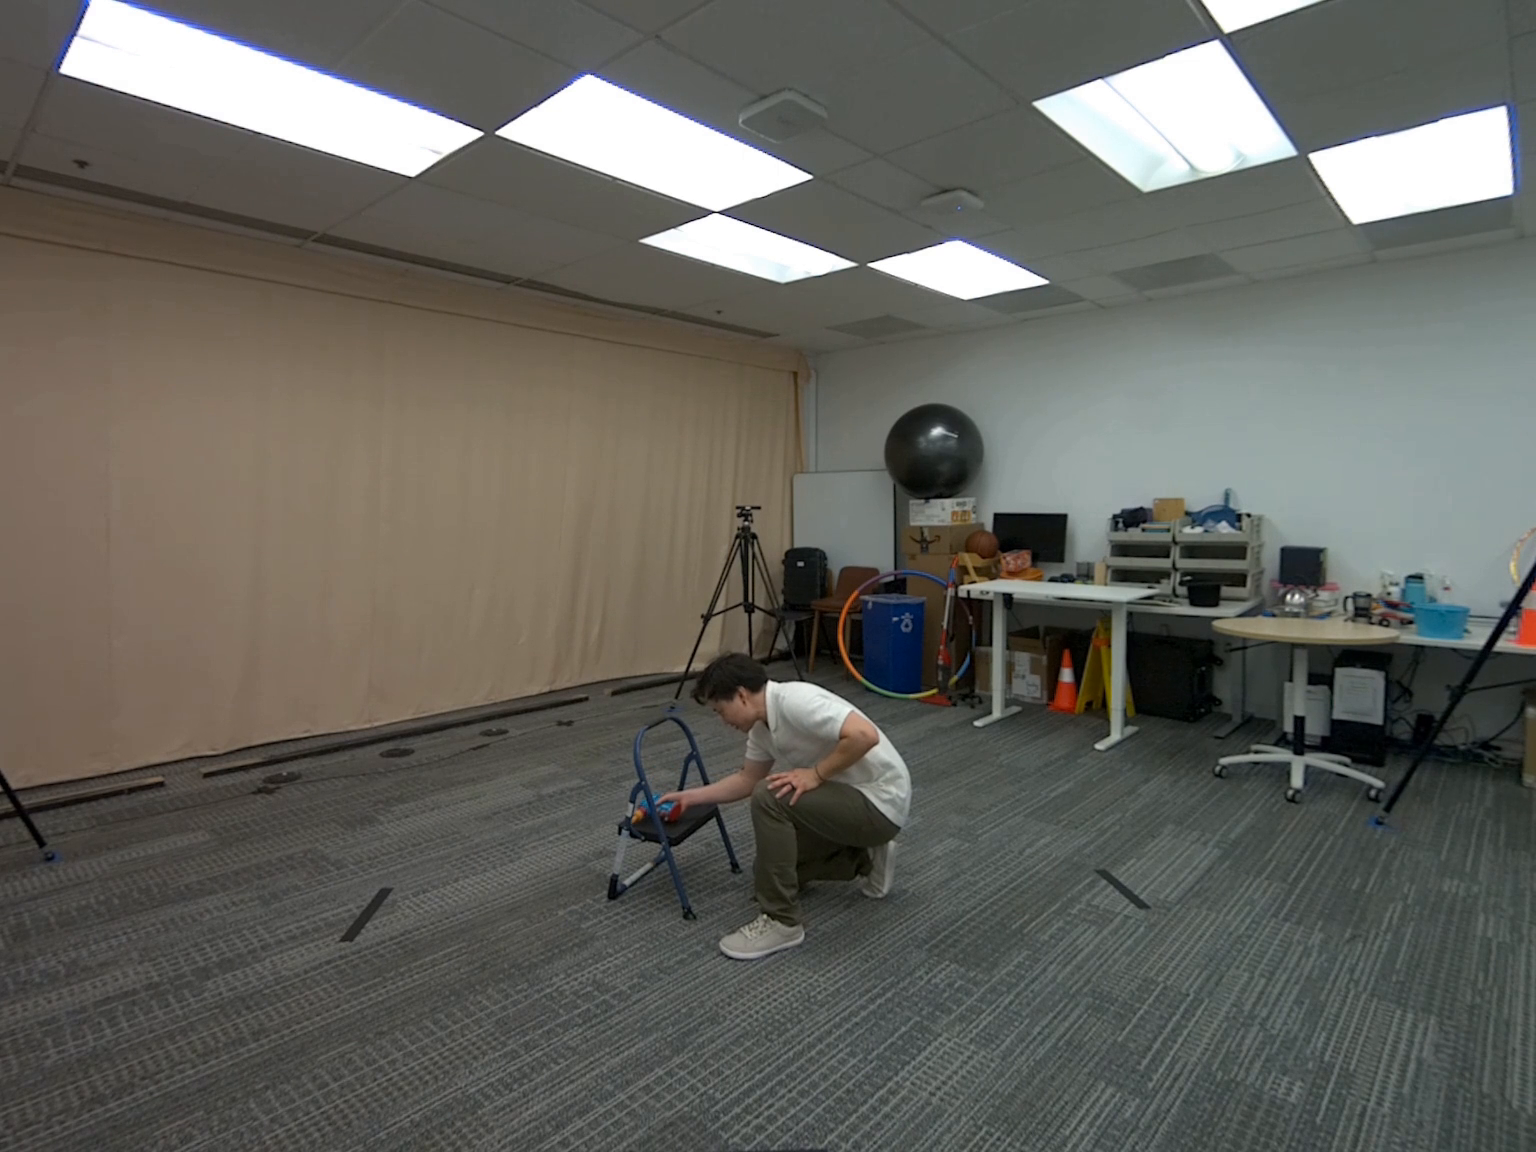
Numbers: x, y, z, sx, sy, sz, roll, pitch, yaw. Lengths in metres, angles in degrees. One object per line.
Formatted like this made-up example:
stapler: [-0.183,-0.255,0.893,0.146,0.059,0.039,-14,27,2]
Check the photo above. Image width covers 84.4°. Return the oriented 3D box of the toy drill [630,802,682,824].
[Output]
toy drill: [-0.402,0.852,3.002,0.151,0.060,0.167,10,26,33]
